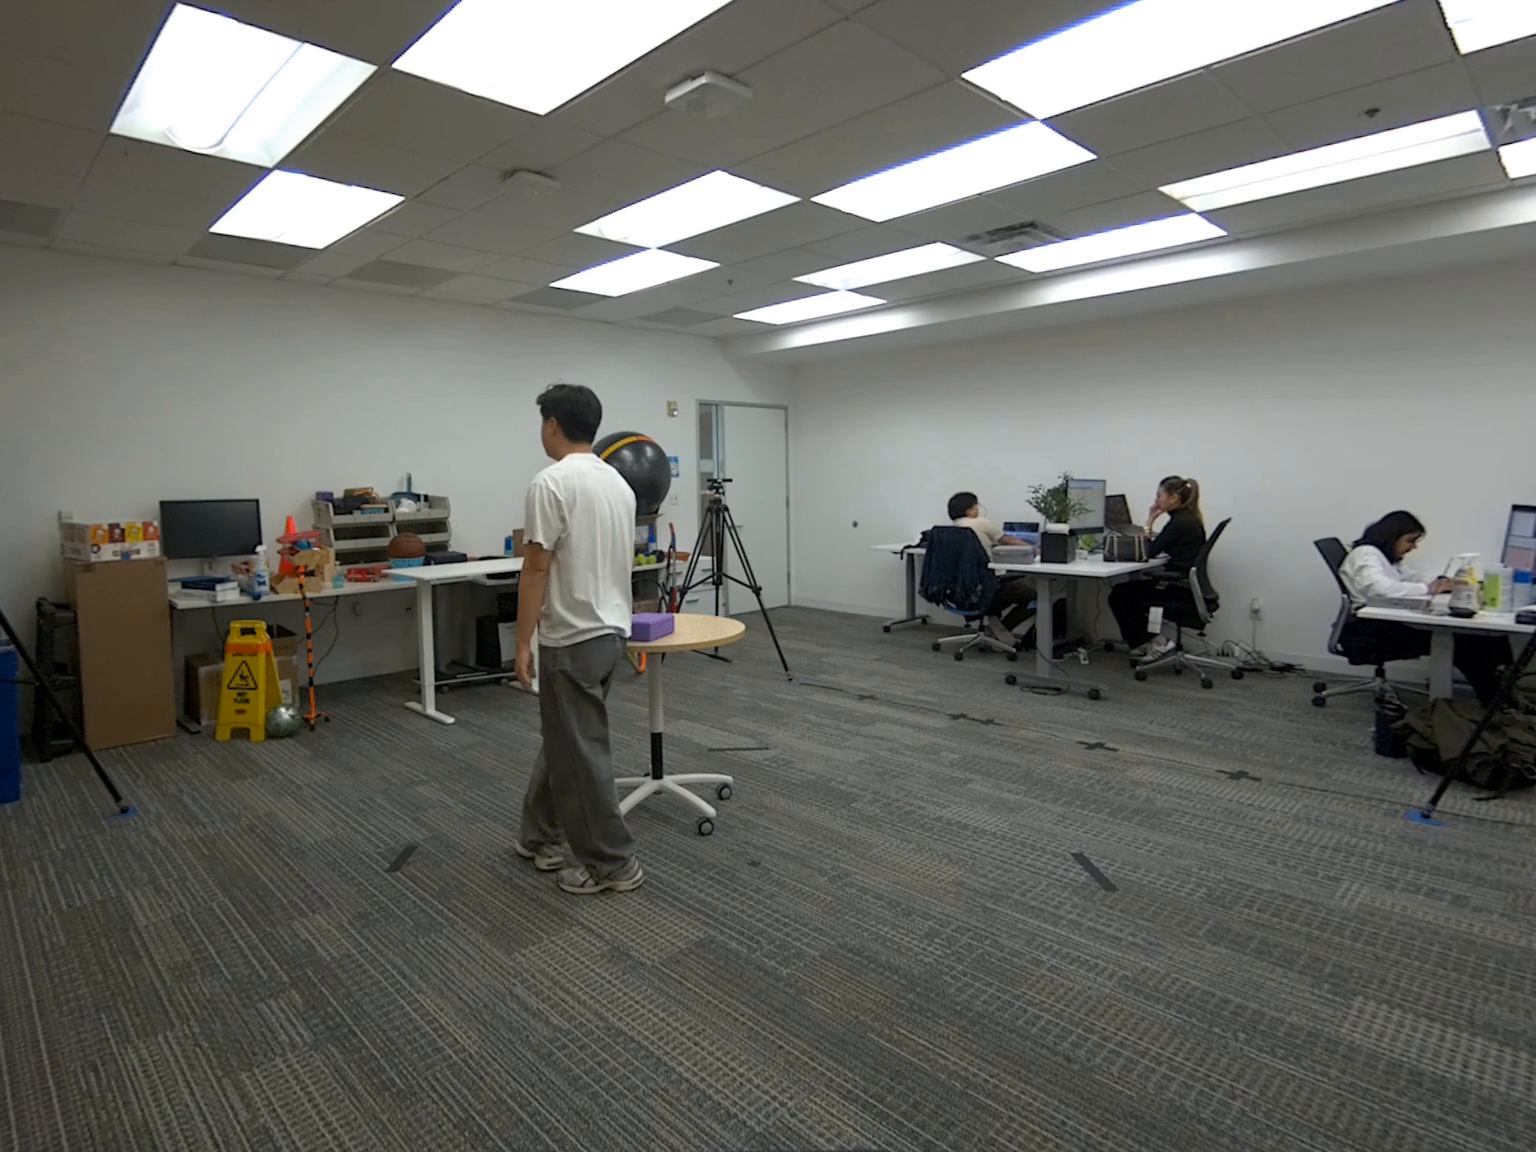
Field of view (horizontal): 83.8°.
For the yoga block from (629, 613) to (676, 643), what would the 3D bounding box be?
[{"bbox_3d":[-0.481,0.201,3.395,0.152,0.076,0.226,2,6,20],"label":"yoga block"}]
